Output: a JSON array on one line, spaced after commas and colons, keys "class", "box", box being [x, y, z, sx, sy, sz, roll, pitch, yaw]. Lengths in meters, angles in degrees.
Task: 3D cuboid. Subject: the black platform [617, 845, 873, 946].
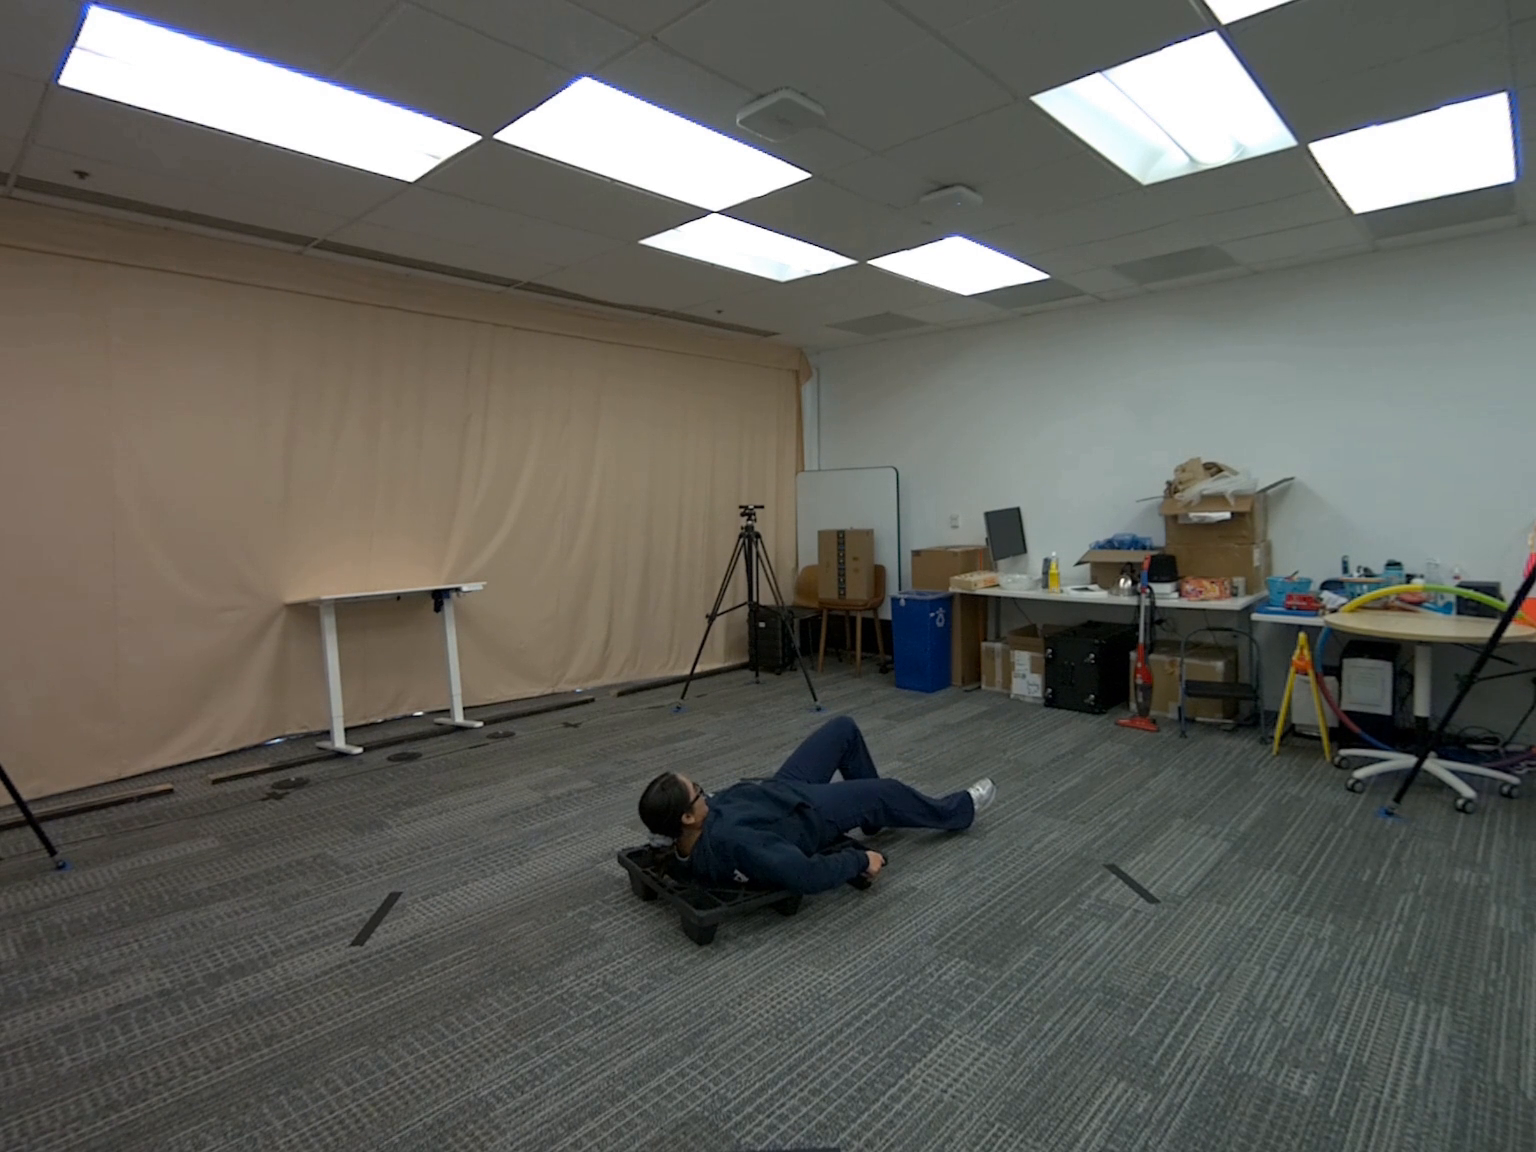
[{"class": "black platform", "box": [-0.069, 1.071, 3.049, 0.783, 0.143, 0.624, -4, 6, -33]}]
